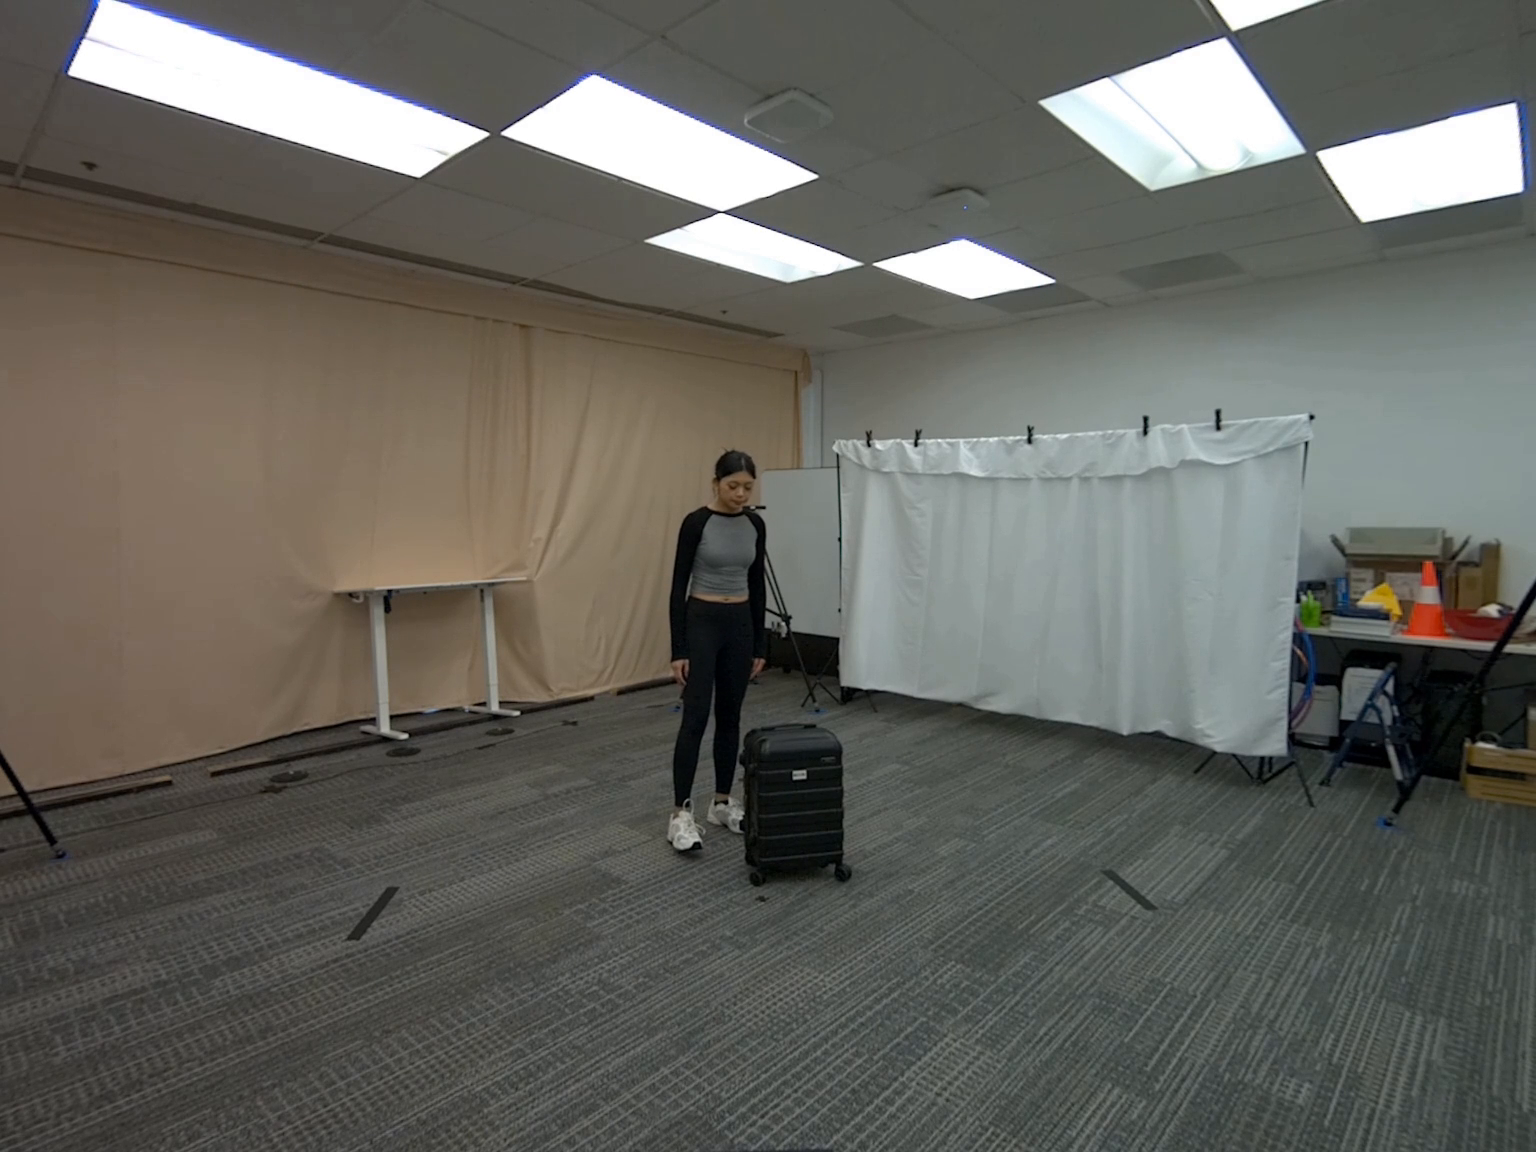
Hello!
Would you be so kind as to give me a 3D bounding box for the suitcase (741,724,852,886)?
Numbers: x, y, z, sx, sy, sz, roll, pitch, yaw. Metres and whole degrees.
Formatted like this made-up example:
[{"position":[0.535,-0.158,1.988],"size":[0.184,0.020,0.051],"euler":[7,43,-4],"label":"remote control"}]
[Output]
[{"position":[0.102,0.846,3.197],"size":[0.370,0.548,0.252],"euler":[-1,3,-13],"label":"suitcase"}]
